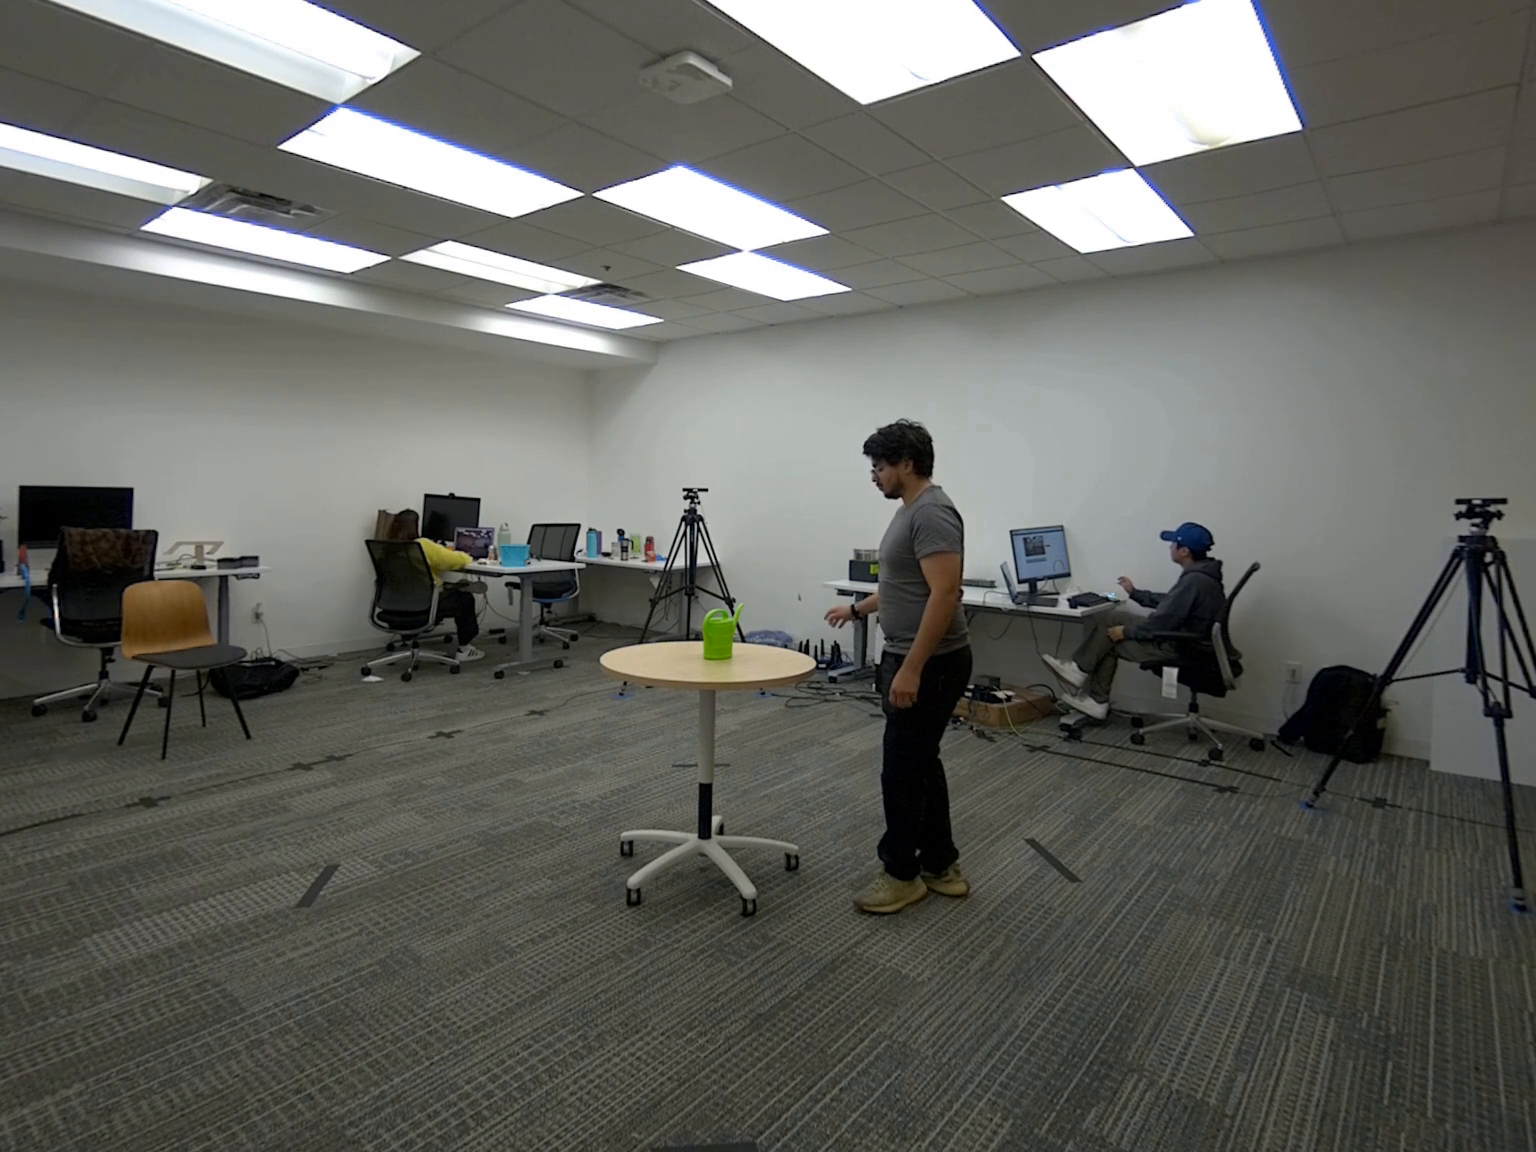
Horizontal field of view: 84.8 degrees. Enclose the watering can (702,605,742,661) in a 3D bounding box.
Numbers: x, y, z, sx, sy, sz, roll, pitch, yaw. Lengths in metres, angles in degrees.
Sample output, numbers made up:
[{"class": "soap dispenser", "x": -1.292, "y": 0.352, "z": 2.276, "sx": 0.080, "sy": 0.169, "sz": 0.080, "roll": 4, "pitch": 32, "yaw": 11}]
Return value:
[{"class": "watering can", "x": -0.161, "y": 0.200, "z": 3.101, "sx": 0.101, "sy": 0.176, "sz": 0.270, "roll": 3, "pitch": 5, "yaw": 44}]
